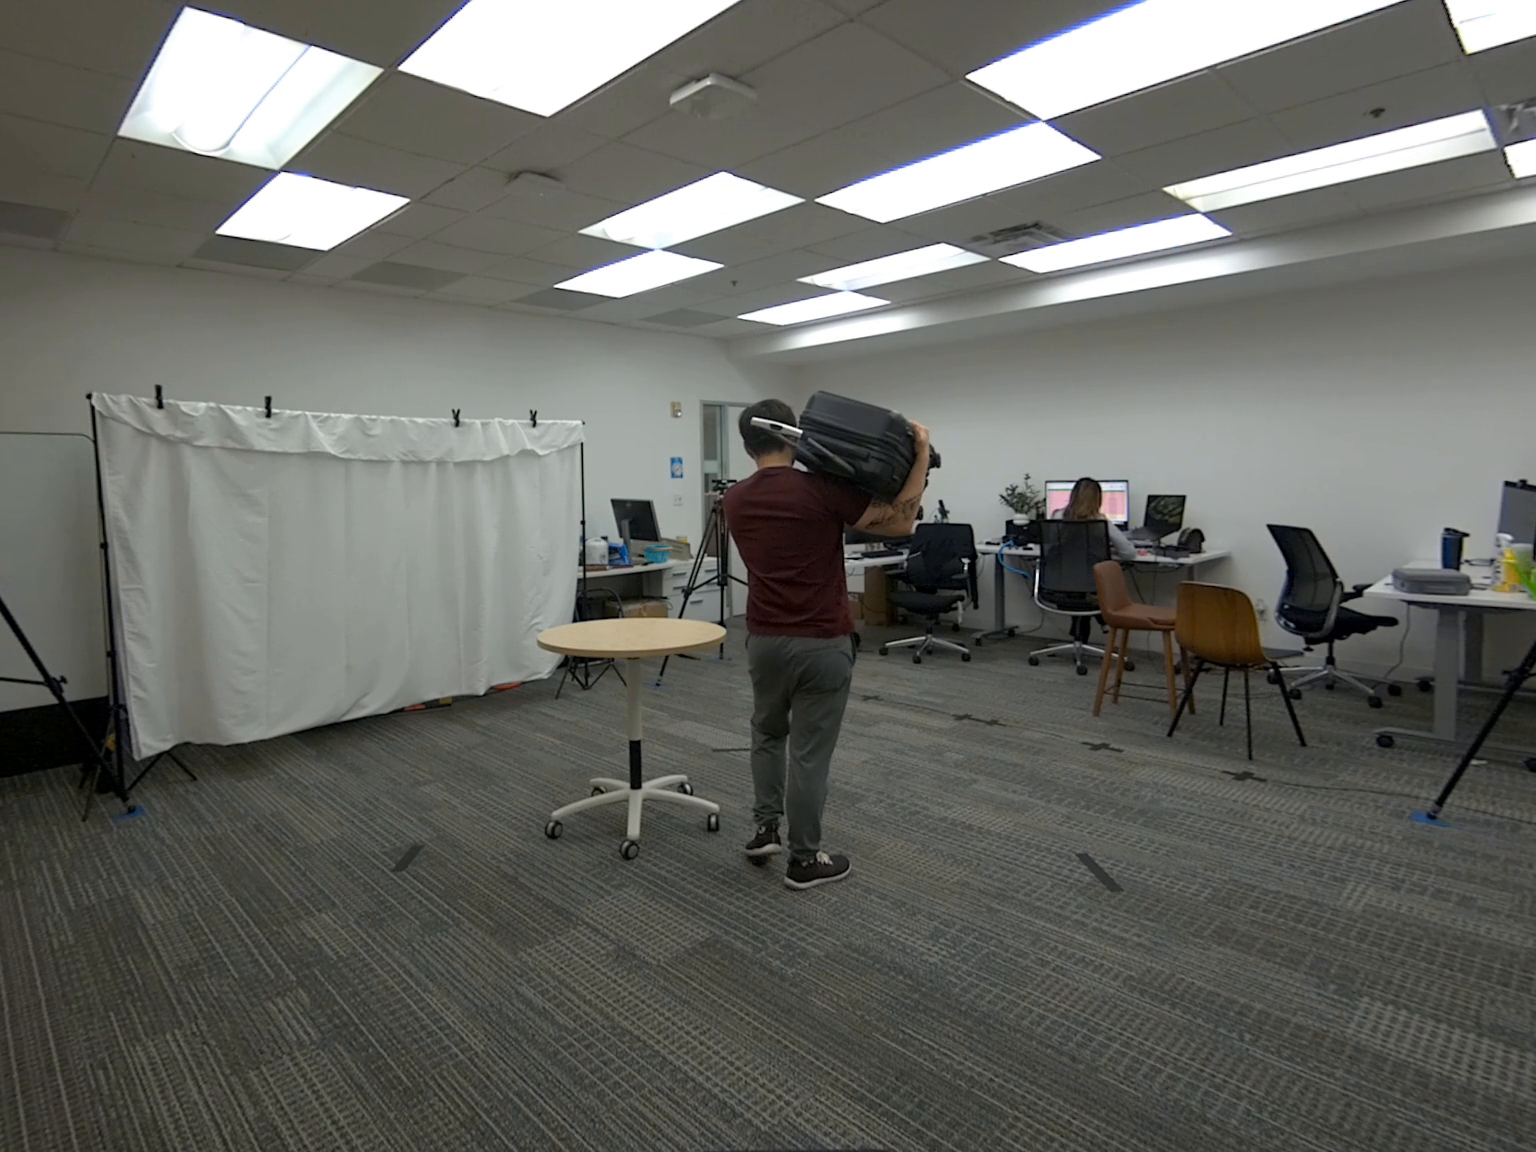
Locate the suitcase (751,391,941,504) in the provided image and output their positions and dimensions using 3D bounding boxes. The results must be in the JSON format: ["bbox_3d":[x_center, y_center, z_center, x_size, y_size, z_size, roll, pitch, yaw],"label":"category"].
[{"bbox_3d":[0.249,-0.449,2.729,0.396,0.257,0.948,22,1,27],"label":"suitcase"}]
